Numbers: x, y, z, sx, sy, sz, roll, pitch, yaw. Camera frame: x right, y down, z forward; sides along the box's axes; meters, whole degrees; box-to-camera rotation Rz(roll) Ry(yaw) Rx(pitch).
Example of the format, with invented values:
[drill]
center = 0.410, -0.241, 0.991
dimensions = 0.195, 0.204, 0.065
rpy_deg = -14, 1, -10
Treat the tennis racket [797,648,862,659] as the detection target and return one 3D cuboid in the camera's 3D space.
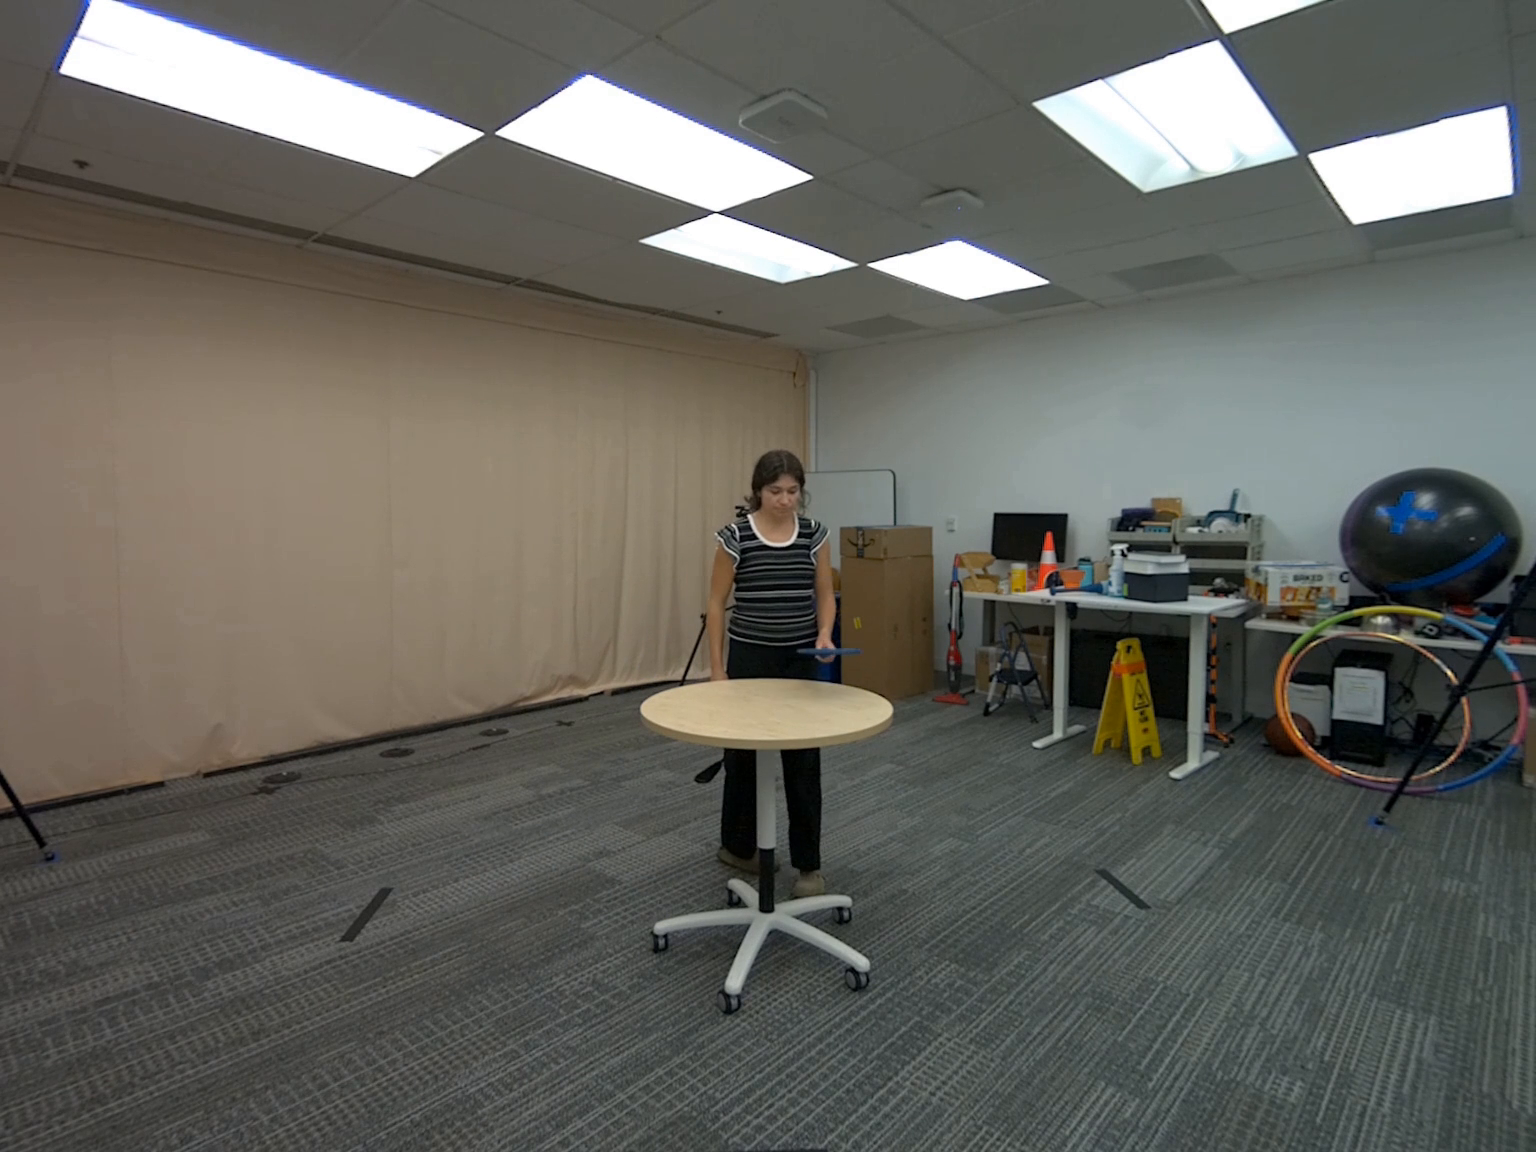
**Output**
[tennis racket]
center = 0.182, 0.261, 2.796
dimensions = 0.214, 0.032, 0.431
rpy_deg = 1, -7, -2
